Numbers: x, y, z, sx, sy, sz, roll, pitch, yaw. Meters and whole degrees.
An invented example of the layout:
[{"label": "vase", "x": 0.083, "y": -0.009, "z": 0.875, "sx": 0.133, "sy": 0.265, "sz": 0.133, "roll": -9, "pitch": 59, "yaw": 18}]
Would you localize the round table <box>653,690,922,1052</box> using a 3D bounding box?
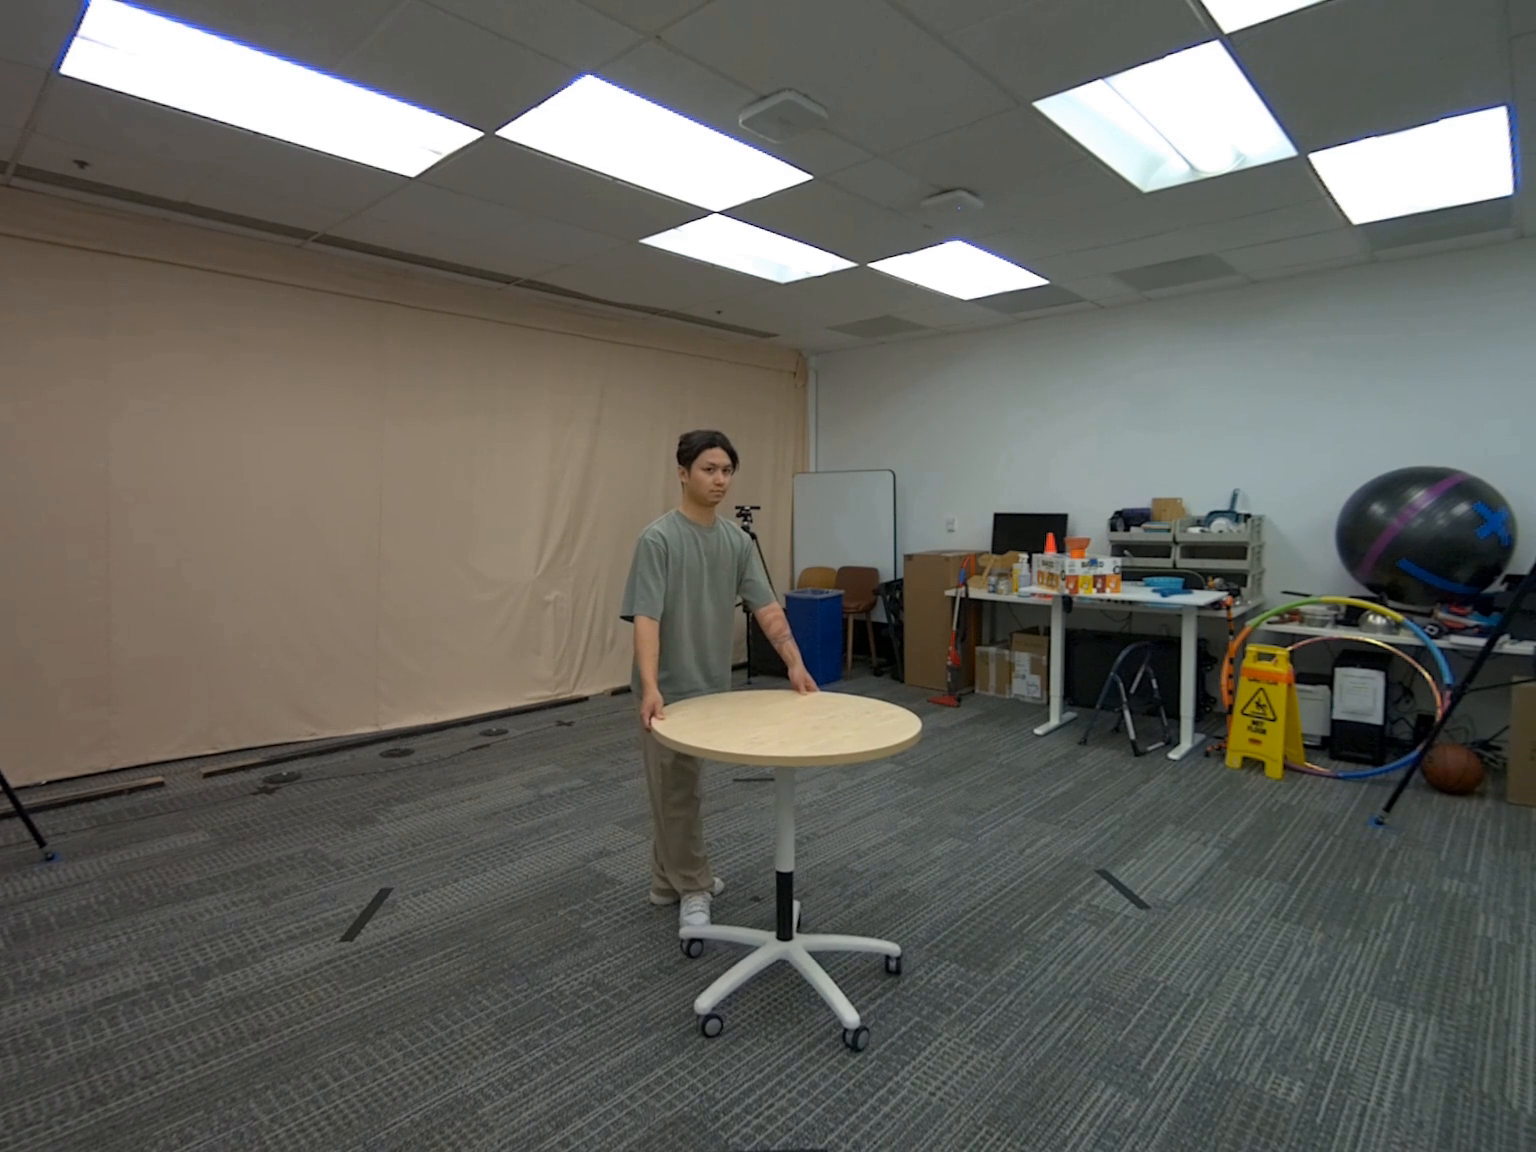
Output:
[{"label": "round table", "x": 0.061, "y": 0.797, "z": 2.420, "sx": 0.784, "sy": 0.785, "sz": 0.788, "roll": 0, "pitch": 3, "yaw": -2}]
